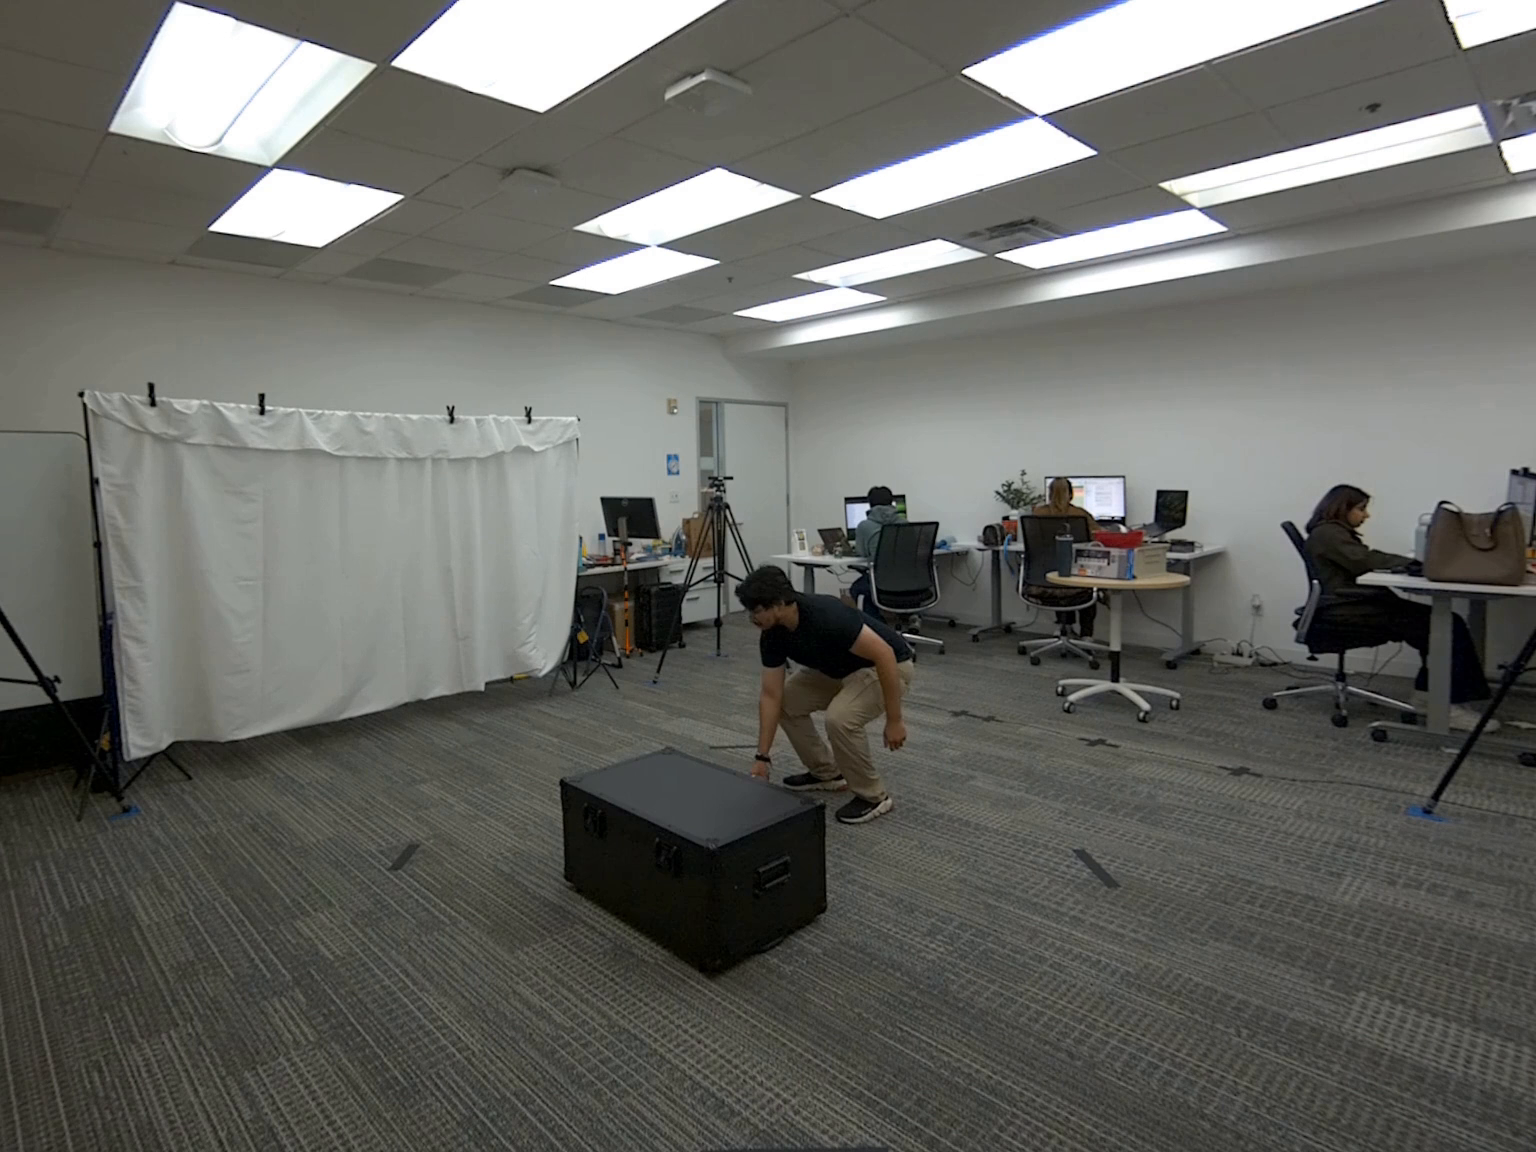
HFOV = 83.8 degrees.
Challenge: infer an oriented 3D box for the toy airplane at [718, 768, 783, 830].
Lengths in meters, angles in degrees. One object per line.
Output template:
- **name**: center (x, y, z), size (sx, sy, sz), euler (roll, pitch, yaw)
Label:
- **toy airplane**: center (-0.073, 0.917, 3.542), size (0.252, 0.155, 0.260), euler (-1, 6, 1)
